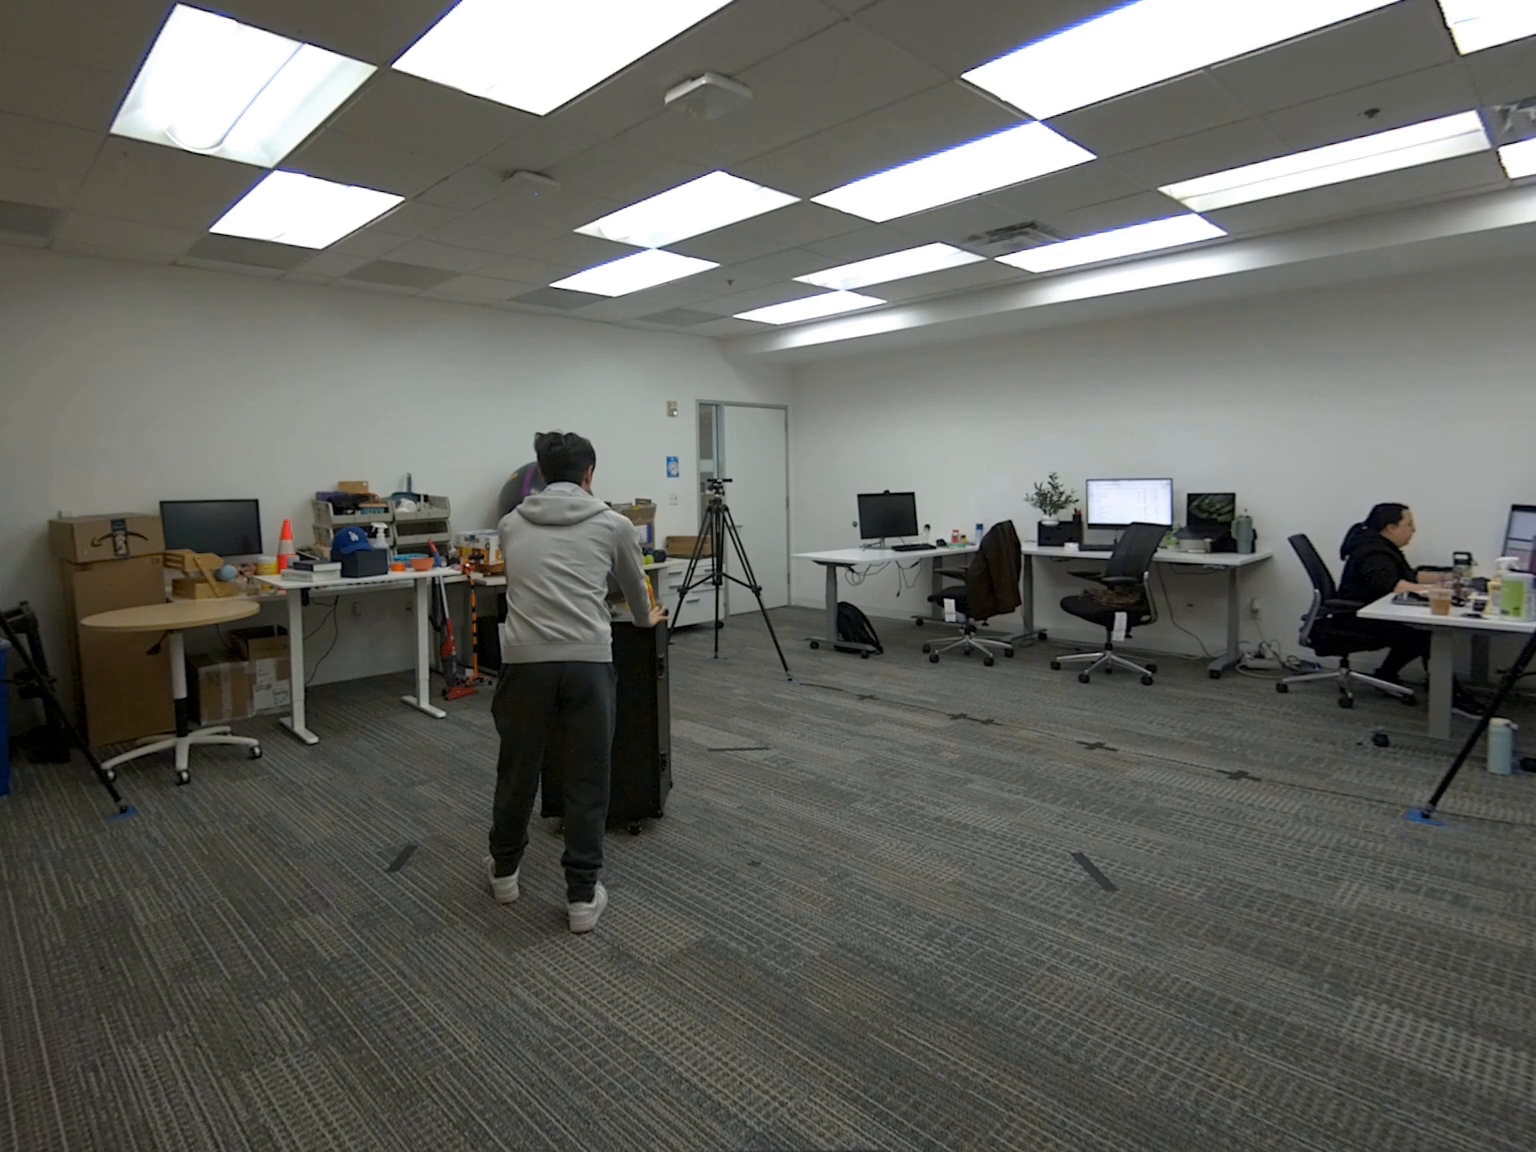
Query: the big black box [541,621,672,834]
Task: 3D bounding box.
[{"bbox_3d":[-0.672,0.587,3.548,0.523,0.859,0.396,-1,3,3],"label":"big black box"}]
